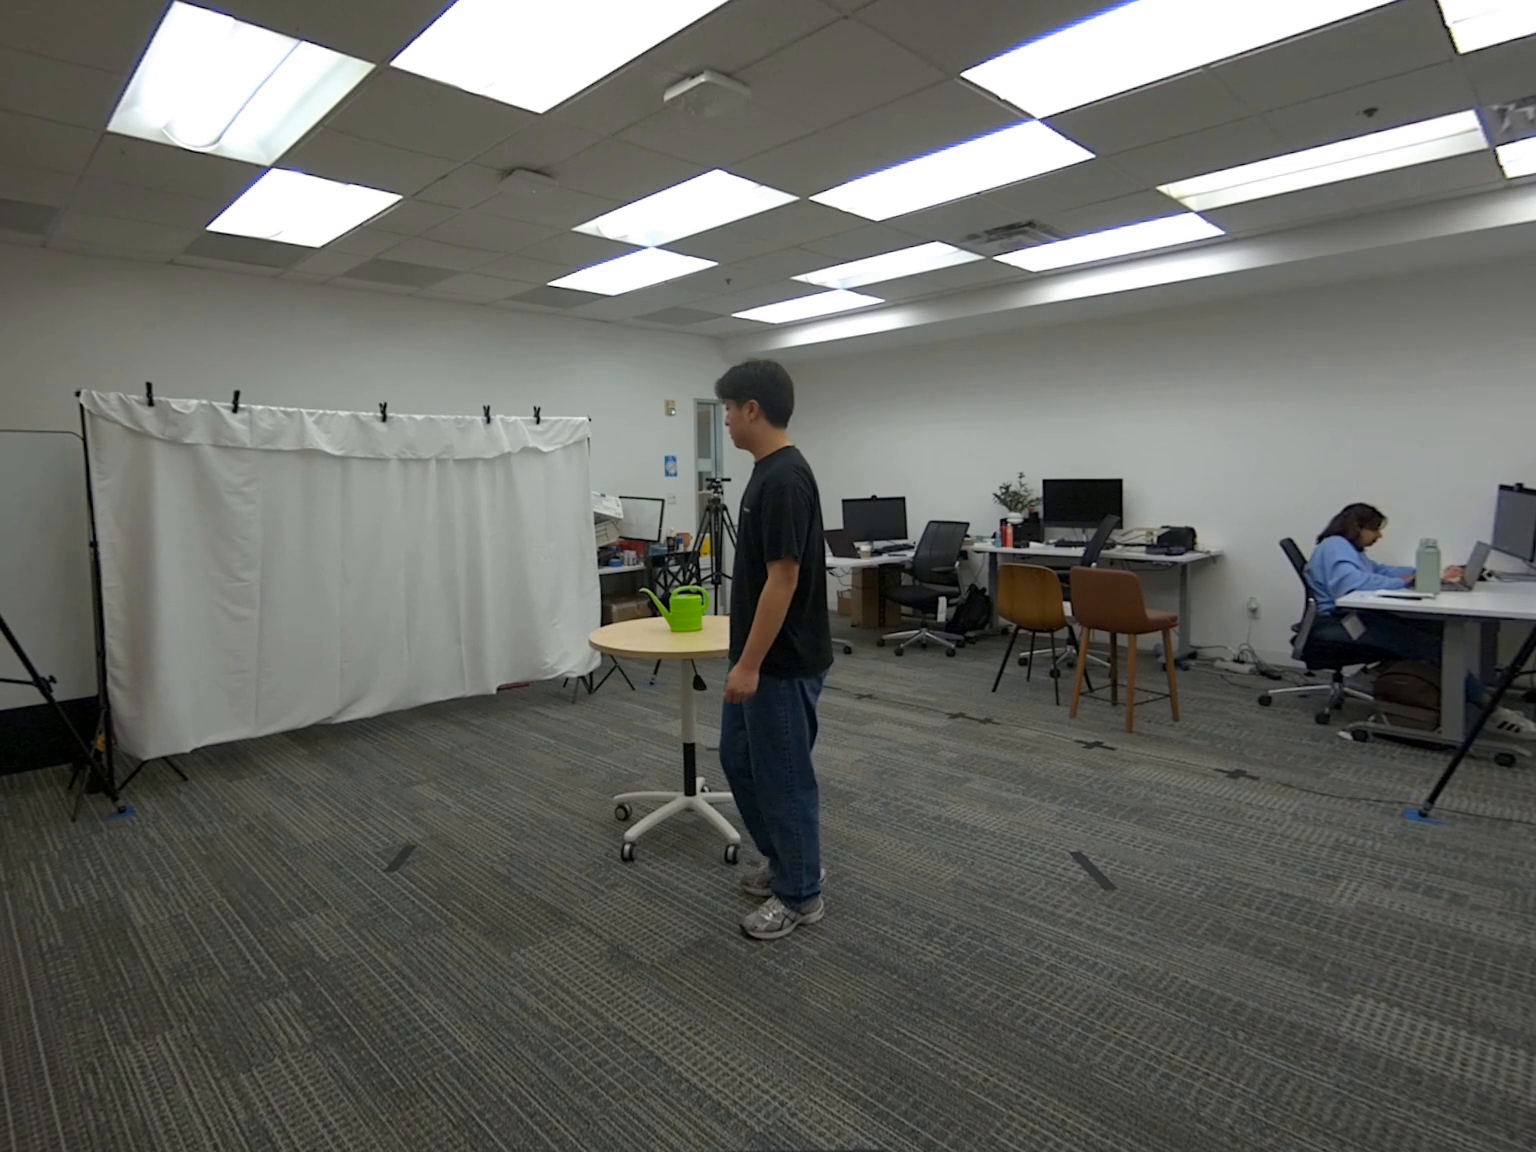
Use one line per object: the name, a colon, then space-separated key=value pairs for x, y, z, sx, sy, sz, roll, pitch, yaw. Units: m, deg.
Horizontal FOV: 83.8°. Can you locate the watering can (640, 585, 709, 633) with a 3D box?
watering can: x=-0.368 y=0.129 z=3.407 sx=0.277 sy=0.176 sz=0.099 roll=-1 pitch=5 yaw=-3
